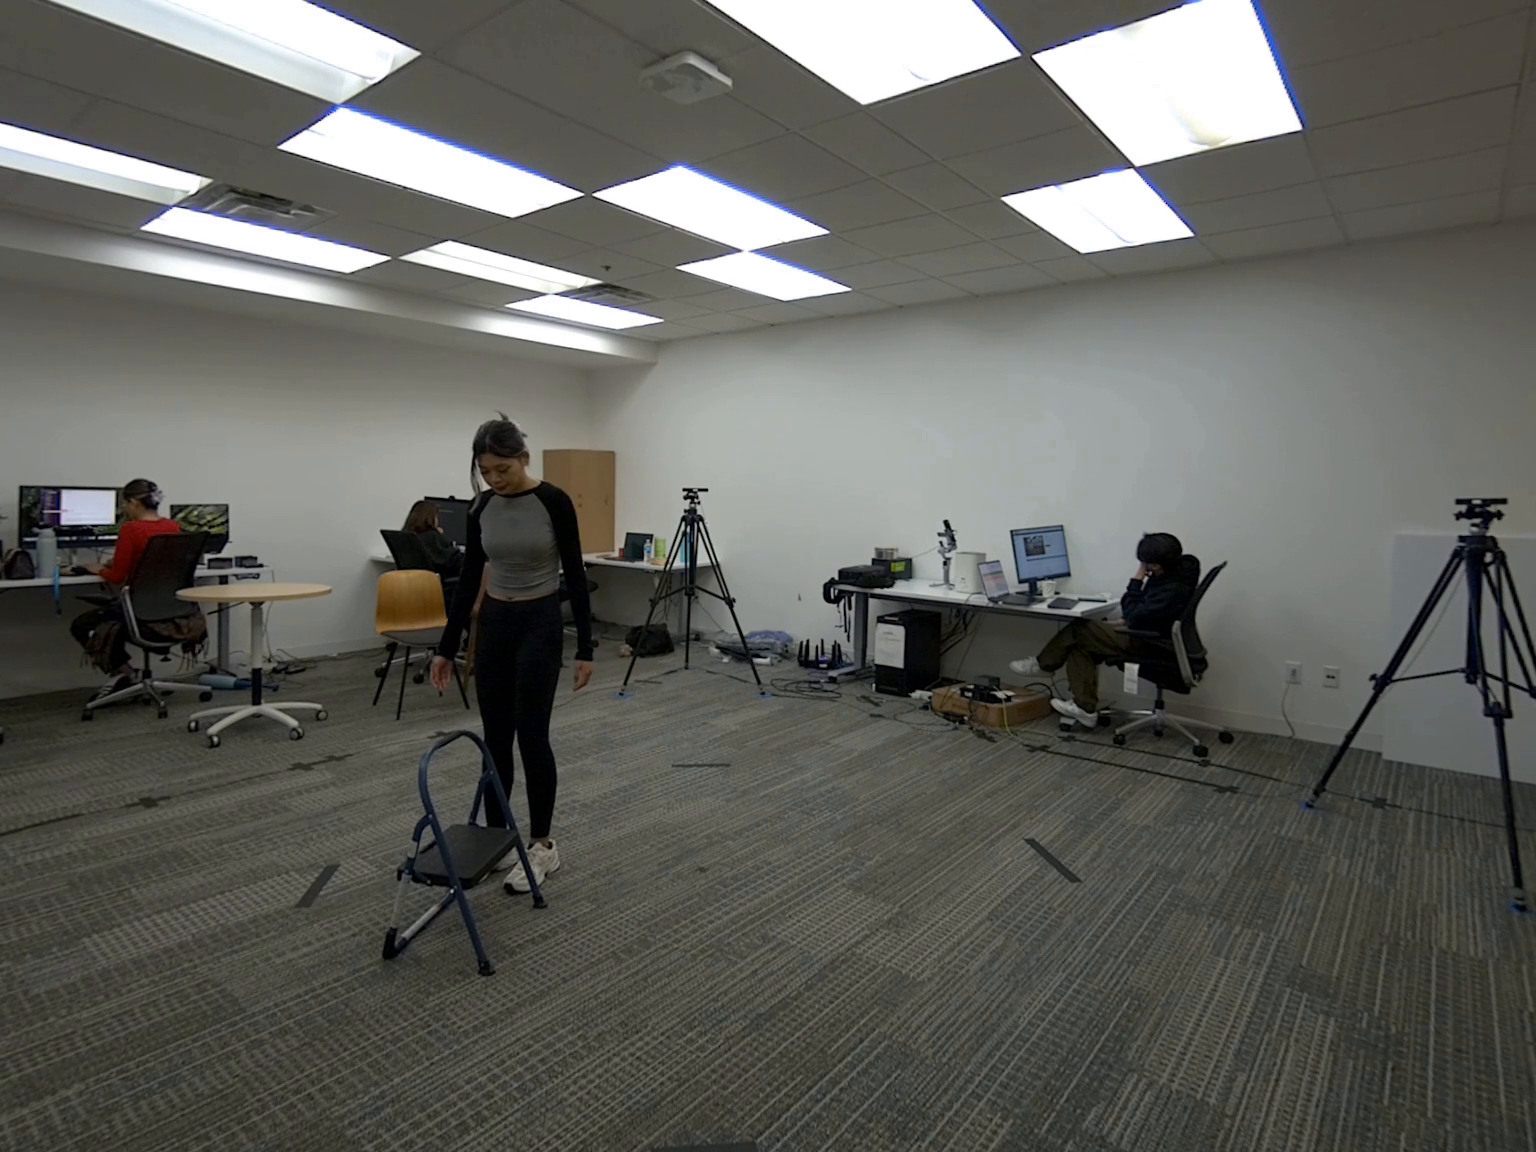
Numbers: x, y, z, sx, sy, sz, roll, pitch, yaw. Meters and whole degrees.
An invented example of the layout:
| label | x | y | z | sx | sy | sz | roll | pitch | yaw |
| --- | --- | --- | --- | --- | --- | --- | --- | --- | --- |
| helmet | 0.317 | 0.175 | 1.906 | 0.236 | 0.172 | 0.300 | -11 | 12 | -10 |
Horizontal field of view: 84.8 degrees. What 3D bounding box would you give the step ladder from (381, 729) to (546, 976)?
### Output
| label | x | y | z | sx | sy | sz | roll | pitch | yaw |
| --- | --- | --- | --- | --- | --- | --- | --- | --- | --- |
| step ladder | -0.937 | 0.807 | 2.632 | 0.353 | 0.604 | 0.428 | 2 | 4 | 8 |
